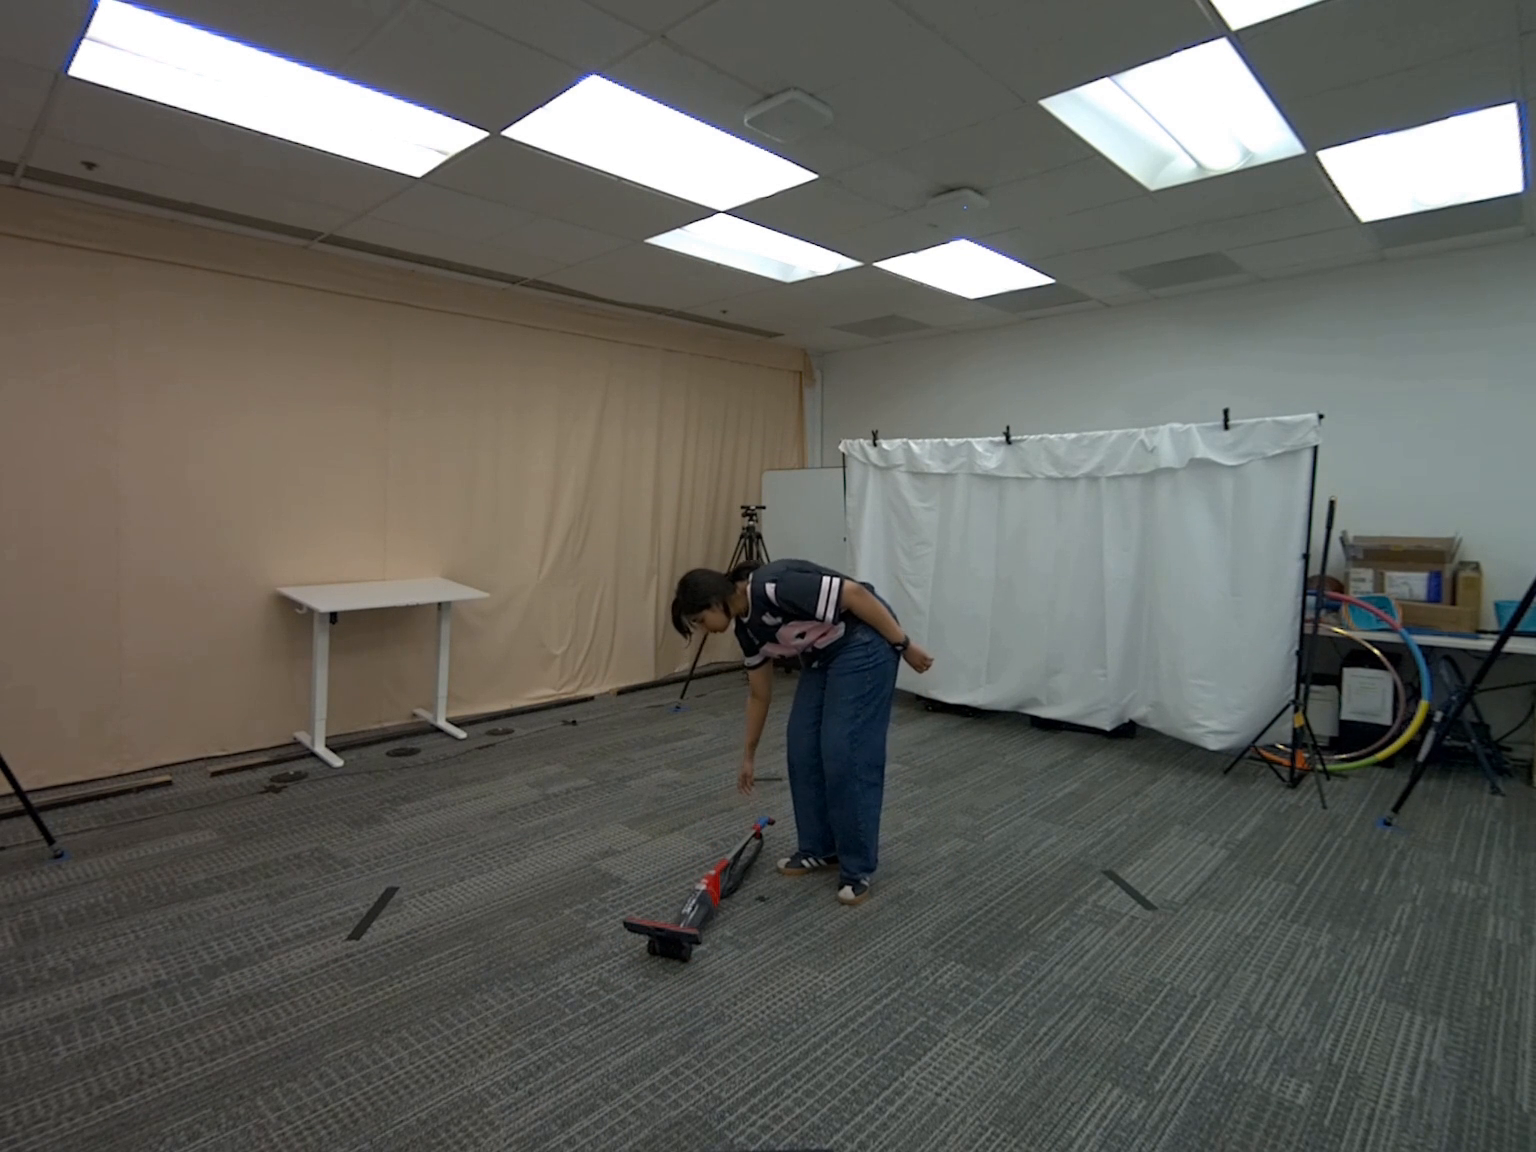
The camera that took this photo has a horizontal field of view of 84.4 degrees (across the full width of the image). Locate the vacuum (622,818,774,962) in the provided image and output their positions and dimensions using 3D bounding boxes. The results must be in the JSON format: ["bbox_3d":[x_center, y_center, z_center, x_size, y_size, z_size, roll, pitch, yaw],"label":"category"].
[{"bbox_3d":[-0.144,1.075,3.048,0.258,0.144,1.029,0,4,19],"label":"vacuum"}]
